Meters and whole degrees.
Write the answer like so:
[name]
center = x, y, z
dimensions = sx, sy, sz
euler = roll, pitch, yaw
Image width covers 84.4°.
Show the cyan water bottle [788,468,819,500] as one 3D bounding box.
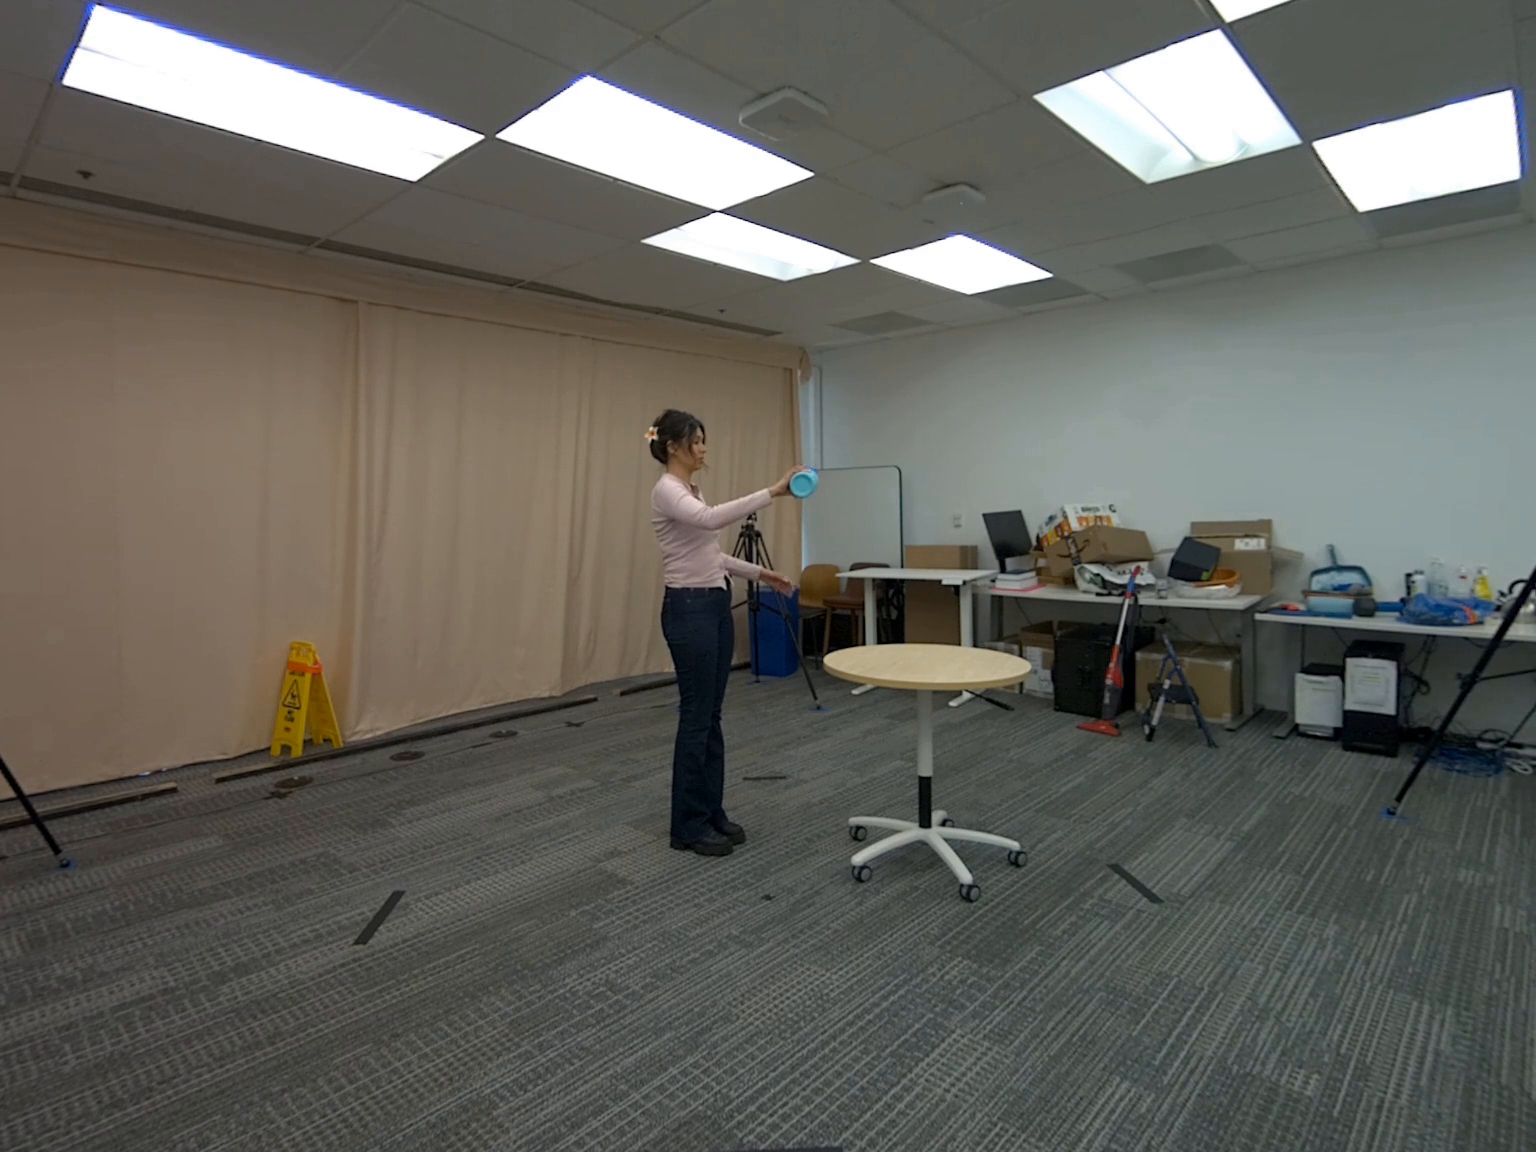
[cyan water bottle]
center = 0.148, -0.352, 3.156
dimensions = 0.093, 0.092, 0.282
euler = 0, 11, 9
